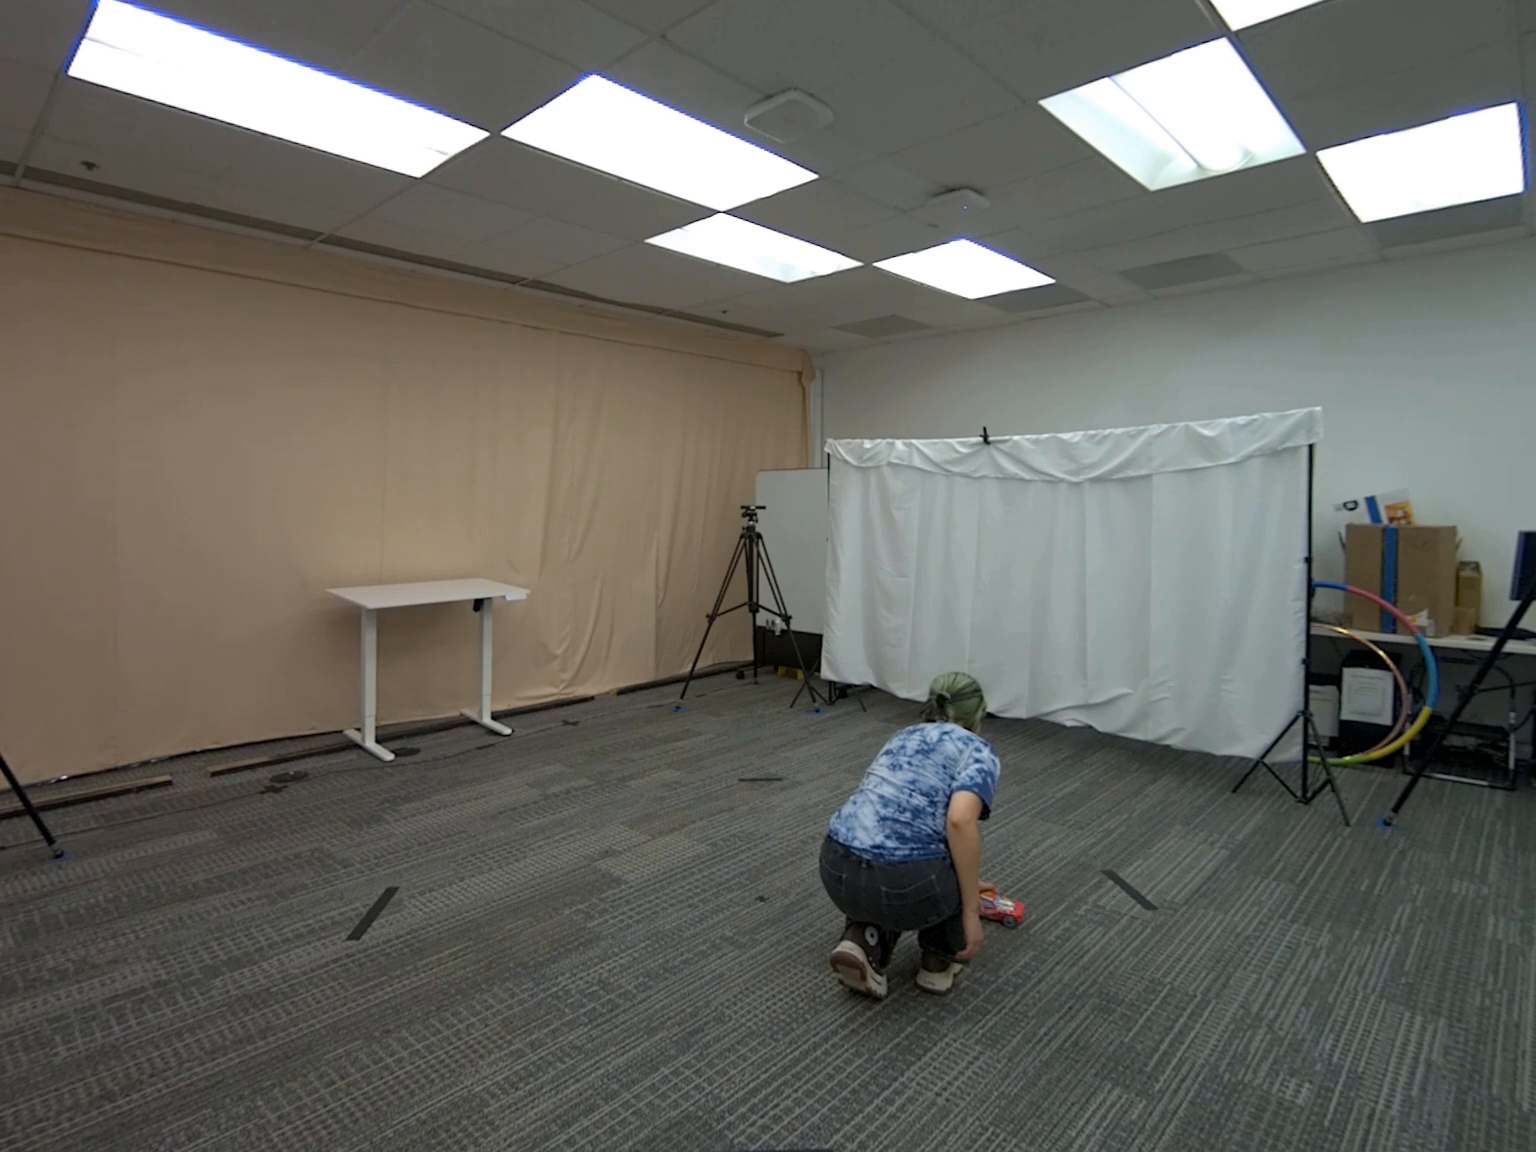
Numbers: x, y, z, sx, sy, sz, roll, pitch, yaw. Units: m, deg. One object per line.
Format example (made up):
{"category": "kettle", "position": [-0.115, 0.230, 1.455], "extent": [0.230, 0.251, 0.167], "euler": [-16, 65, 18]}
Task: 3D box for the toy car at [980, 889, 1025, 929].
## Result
{"category": "toy car", "position": [0.734, 1.123, 2.864], "extent": [0.262, 0.083, 0.127], "euler": [13, 10, 26]}
